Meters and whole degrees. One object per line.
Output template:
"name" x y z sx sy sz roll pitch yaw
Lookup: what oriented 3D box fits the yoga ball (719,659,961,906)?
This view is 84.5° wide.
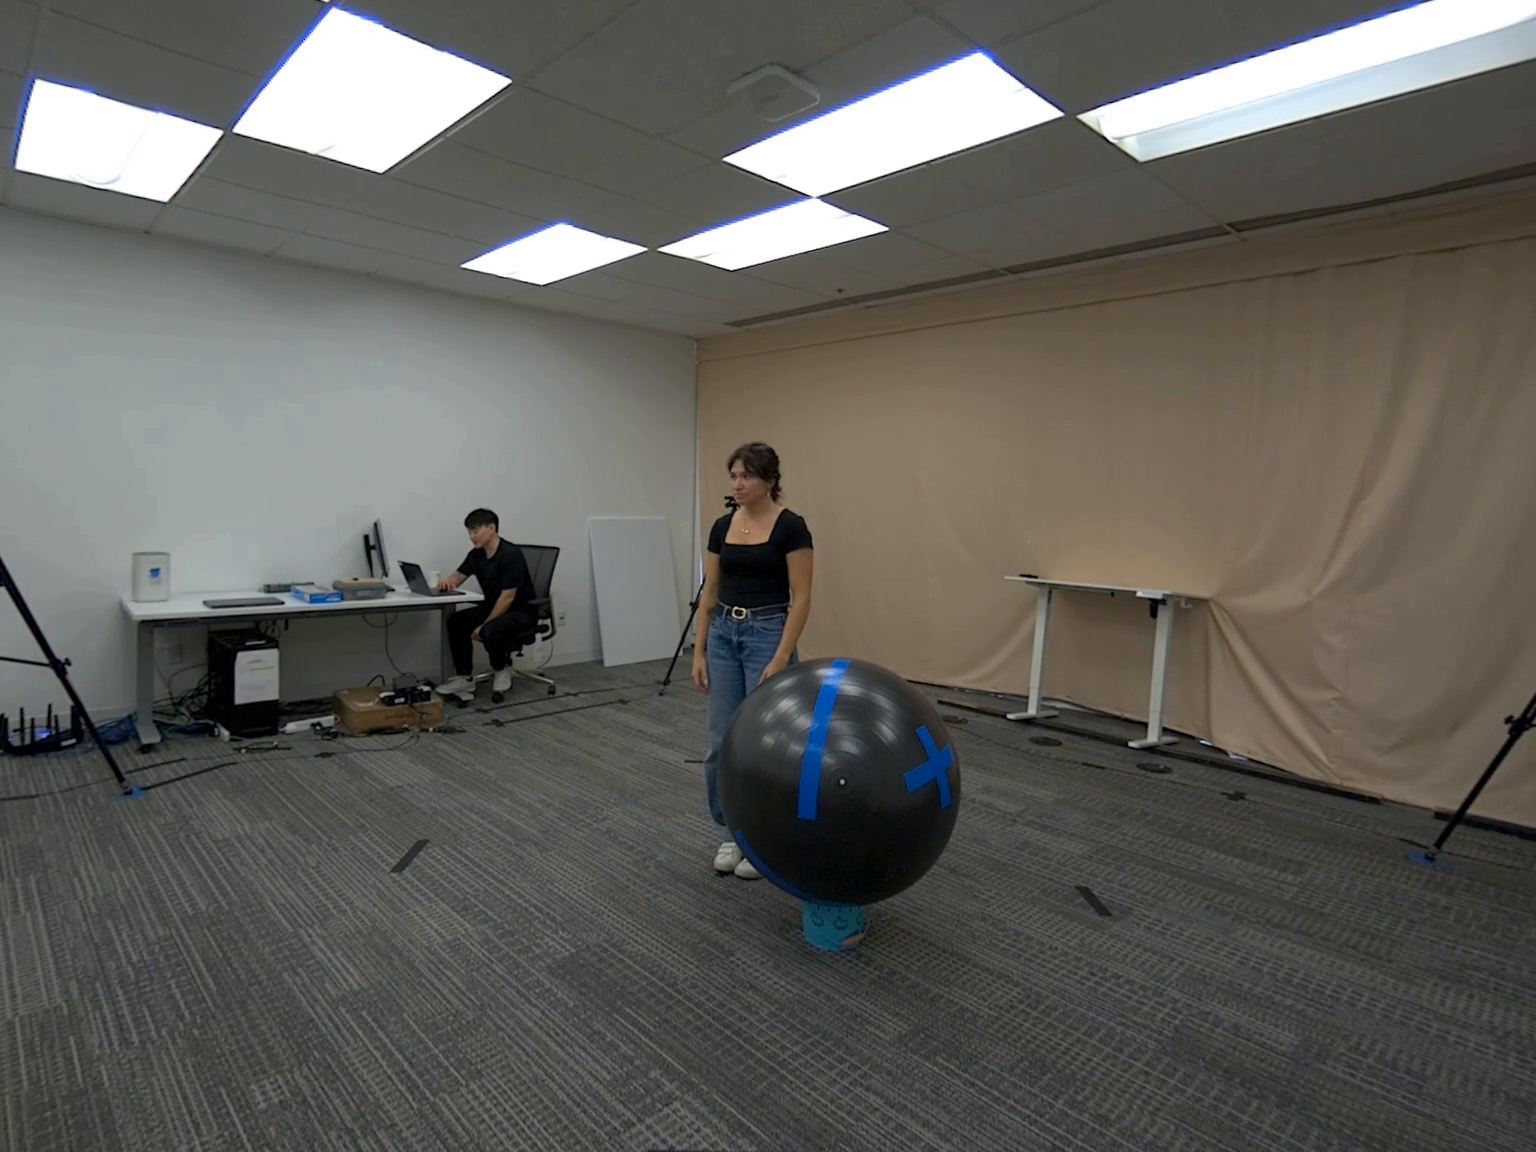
"yoga ball" 0.218 0.642 2.662 0.757 0.756 0.761 1 4 -1
